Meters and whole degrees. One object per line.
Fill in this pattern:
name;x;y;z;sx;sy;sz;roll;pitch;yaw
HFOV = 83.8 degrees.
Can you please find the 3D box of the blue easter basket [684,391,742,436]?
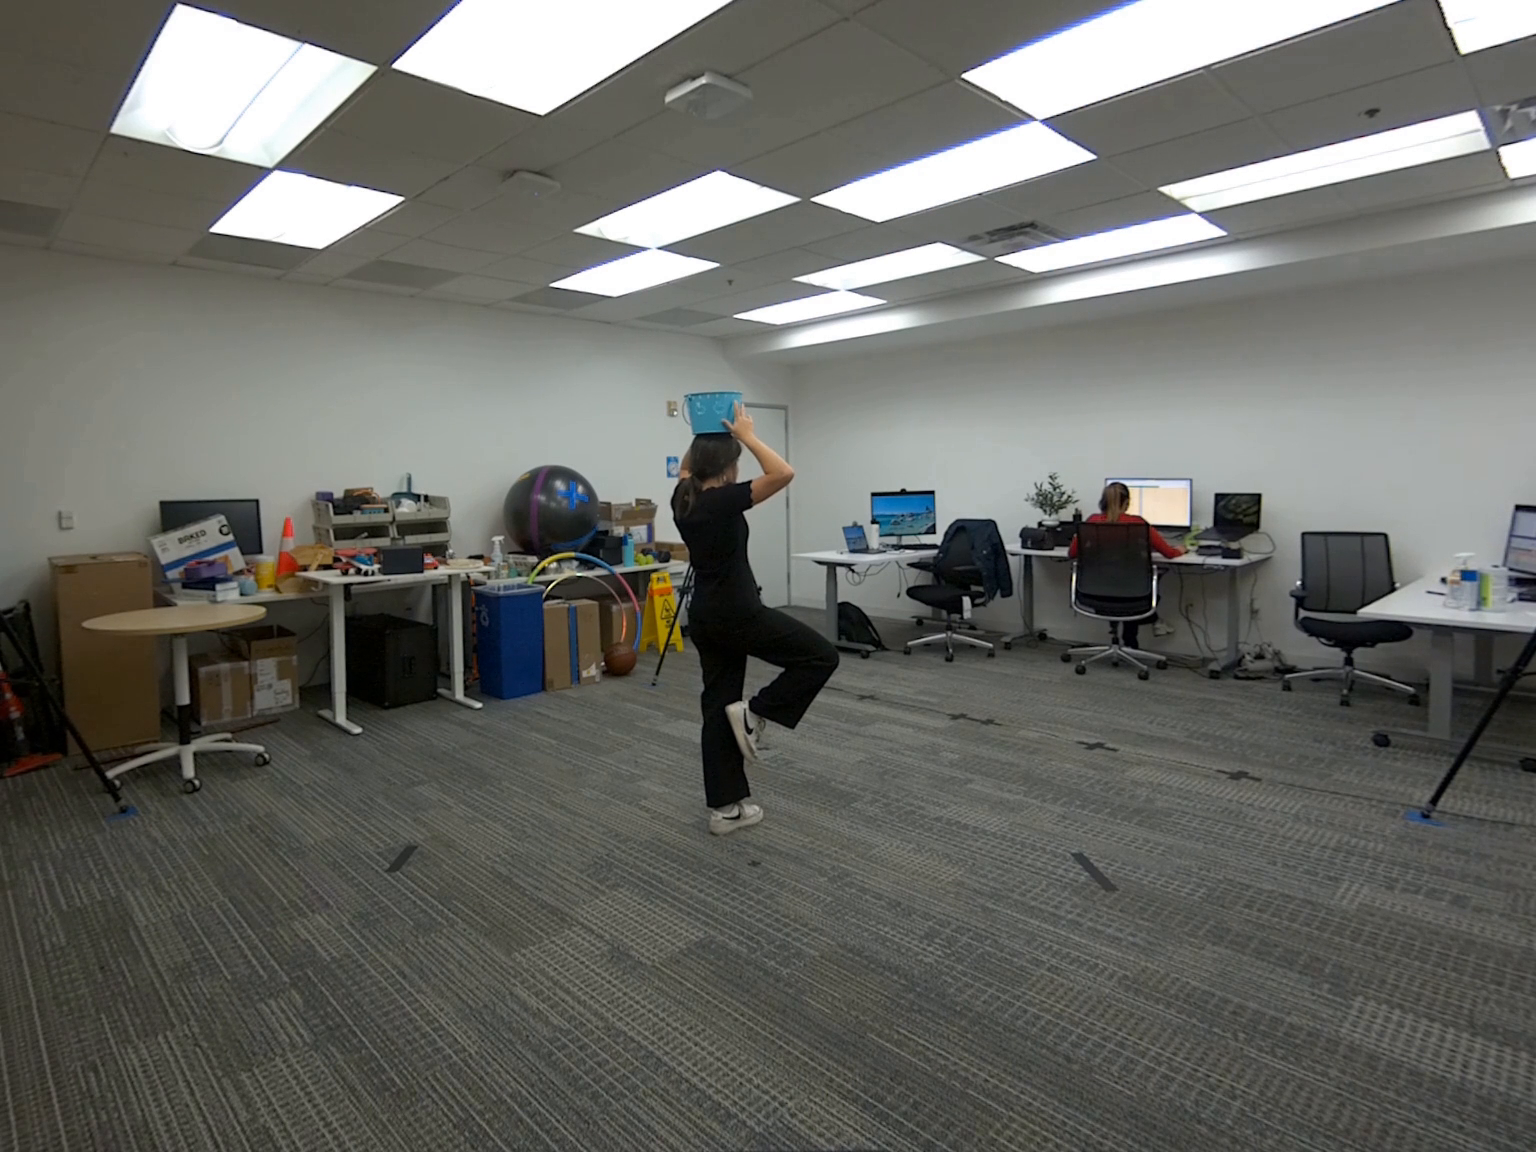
blue easter basket;-0.211;-0.639;3.356;0.243;0.155;0.245;-3;6;-1
